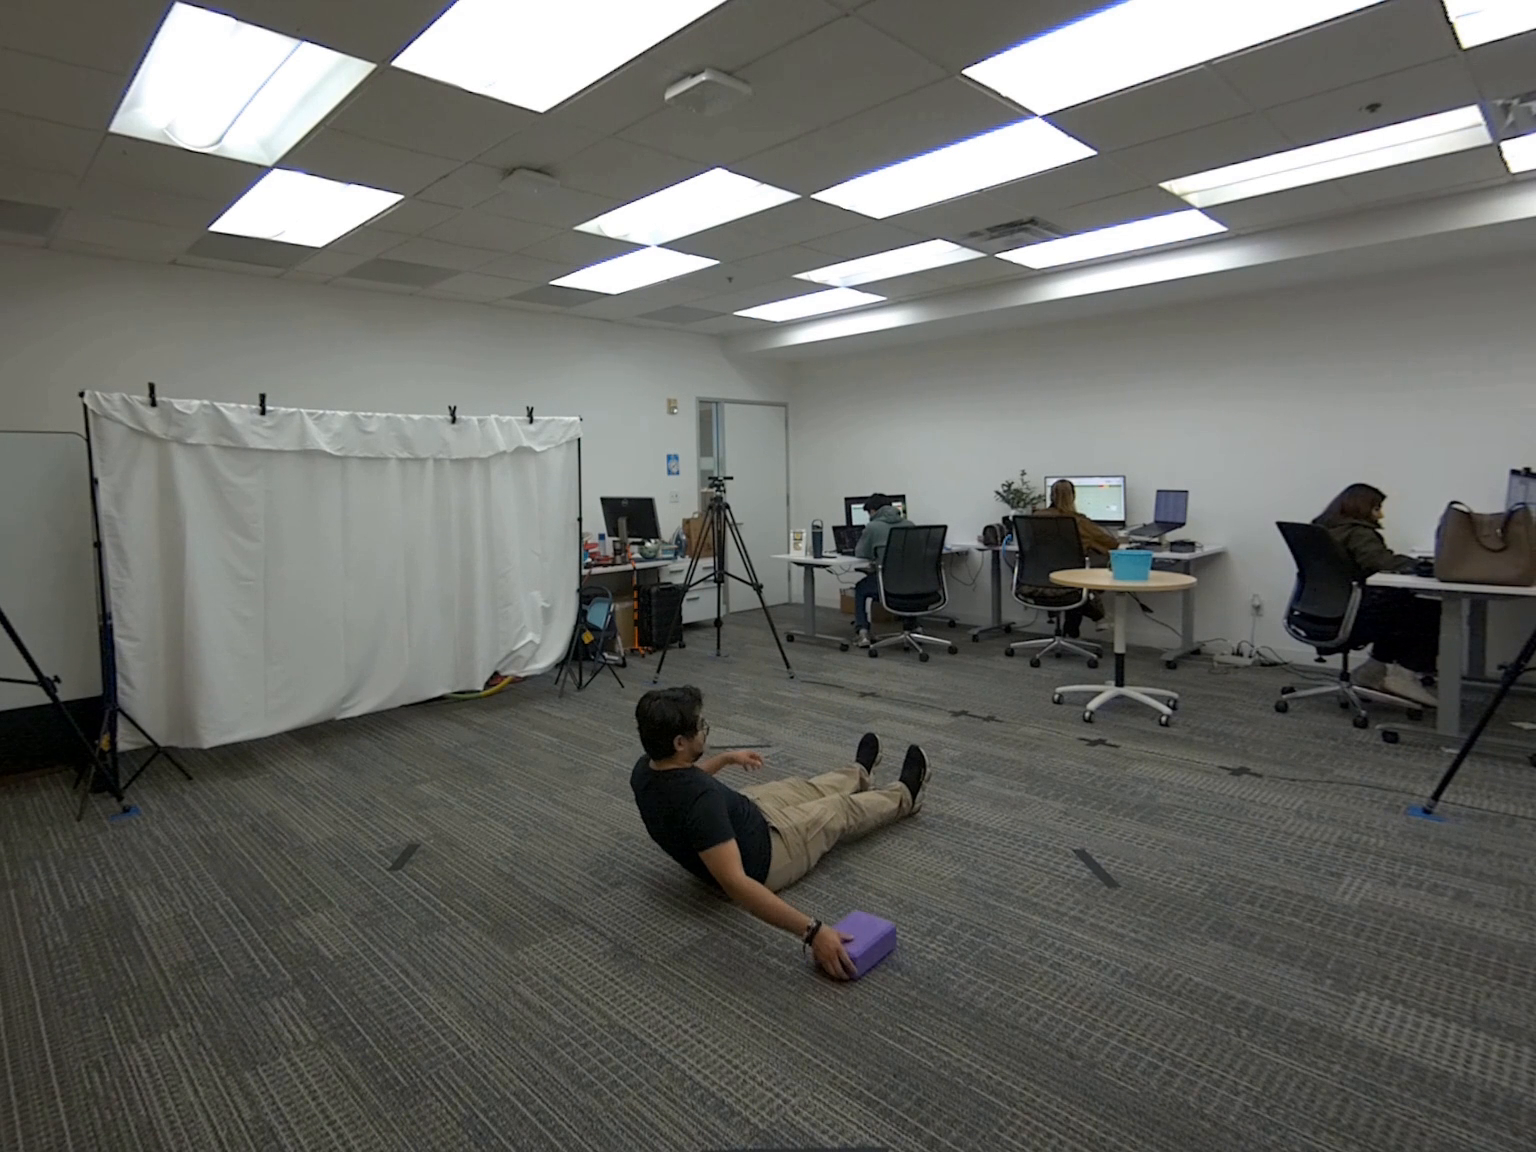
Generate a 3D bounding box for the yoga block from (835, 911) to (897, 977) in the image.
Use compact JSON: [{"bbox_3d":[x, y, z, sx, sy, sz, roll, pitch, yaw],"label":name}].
[{"bbox_3d":[0.257,1.060,2.477,0.153,0.076,0.223,4,7,40],"label":"yoga block"}]
